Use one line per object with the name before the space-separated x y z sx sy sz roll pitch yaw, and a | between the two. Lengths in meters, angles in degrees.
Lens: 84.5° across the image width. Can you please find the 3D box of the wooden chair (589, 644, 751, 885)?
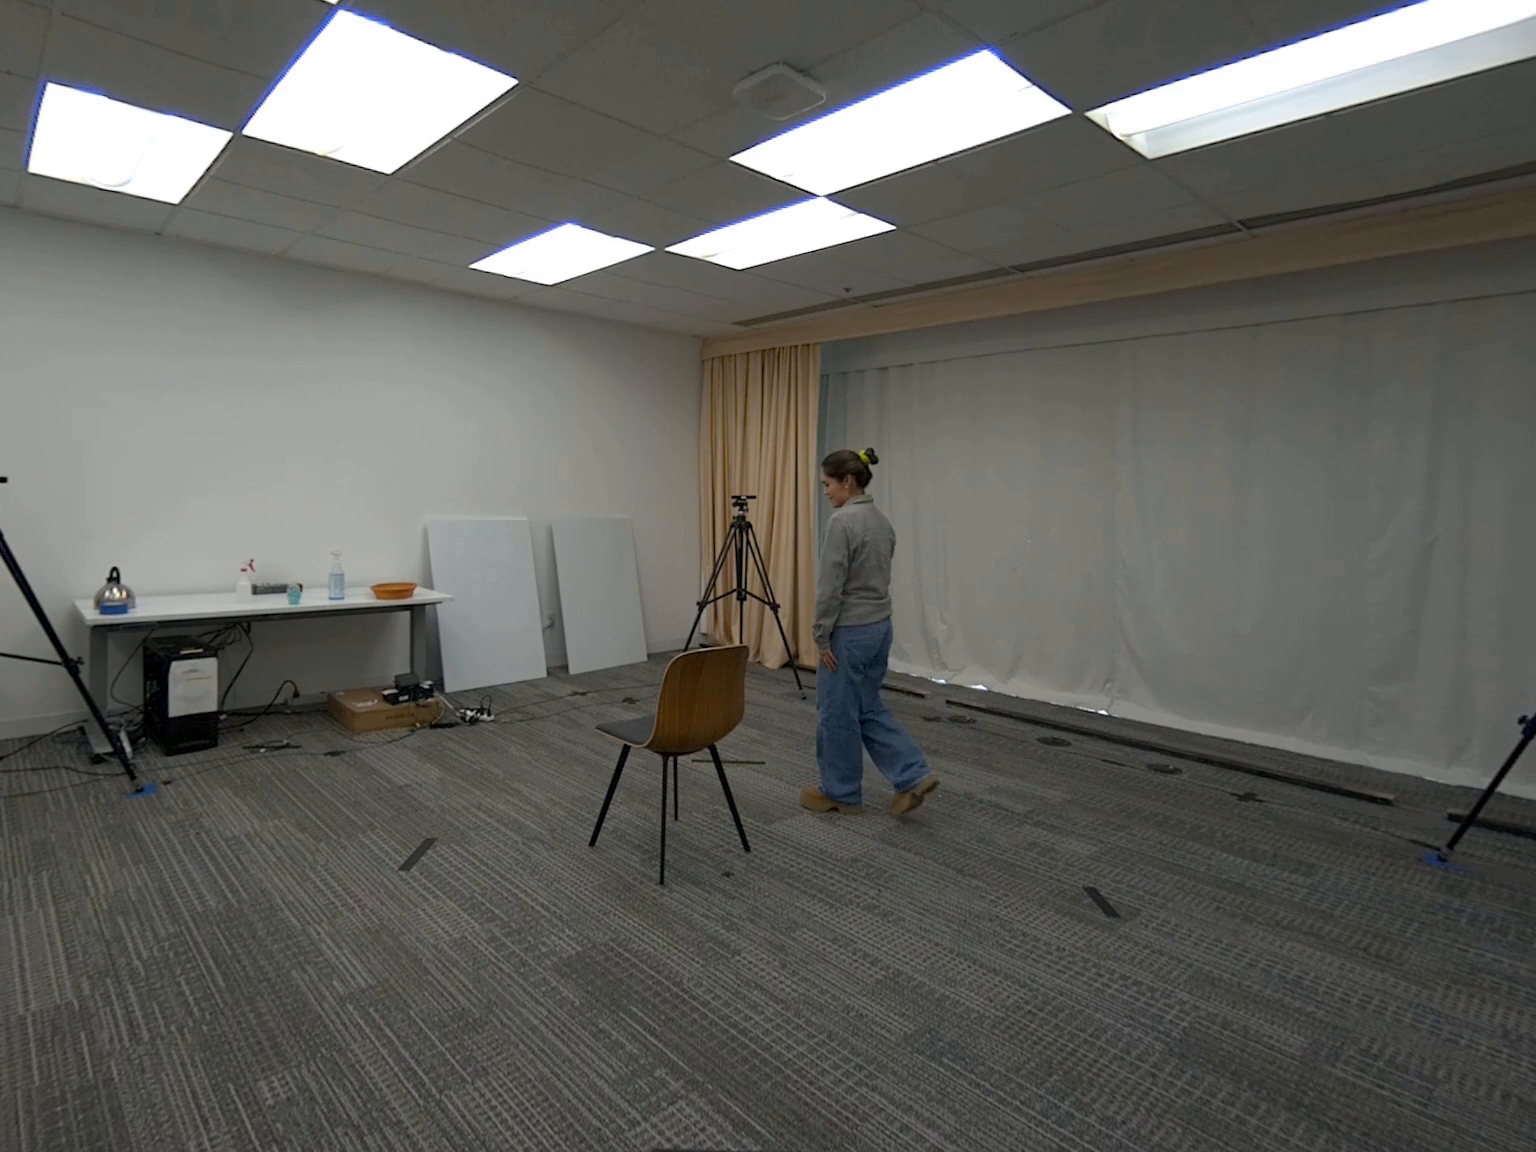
wooden chair | -0.387 0.652 3.289 0.467 0.873 0.537 -2 10 -45
